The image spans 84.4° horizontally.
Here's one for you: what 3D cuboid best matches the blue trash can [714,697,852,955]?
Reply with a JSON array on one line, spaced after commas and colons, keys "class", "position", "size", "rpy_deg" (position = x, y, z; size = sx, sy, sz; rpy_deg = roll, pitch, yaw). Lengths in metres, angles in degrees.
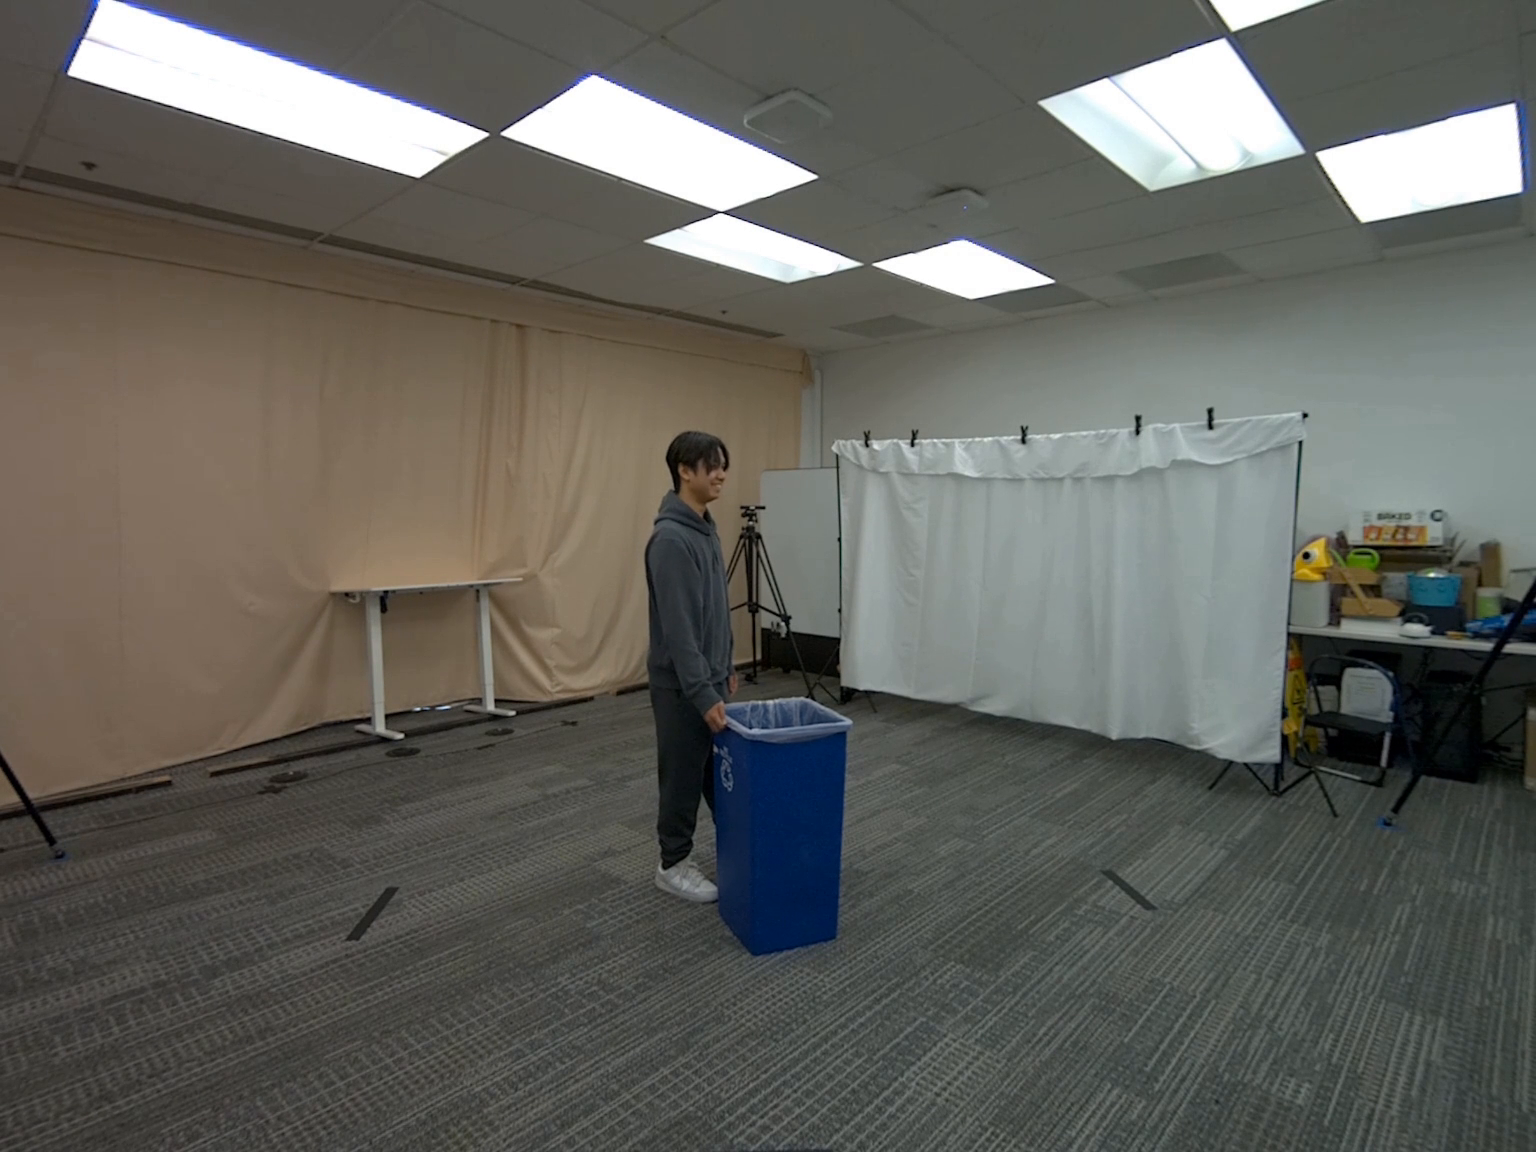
[{"class": "blue trash can", "position": [0.042, 0.803, 2.766], "size": [0.369, 0.712, 0.383], "rpy_deg": [-1, 3, -24]}]
